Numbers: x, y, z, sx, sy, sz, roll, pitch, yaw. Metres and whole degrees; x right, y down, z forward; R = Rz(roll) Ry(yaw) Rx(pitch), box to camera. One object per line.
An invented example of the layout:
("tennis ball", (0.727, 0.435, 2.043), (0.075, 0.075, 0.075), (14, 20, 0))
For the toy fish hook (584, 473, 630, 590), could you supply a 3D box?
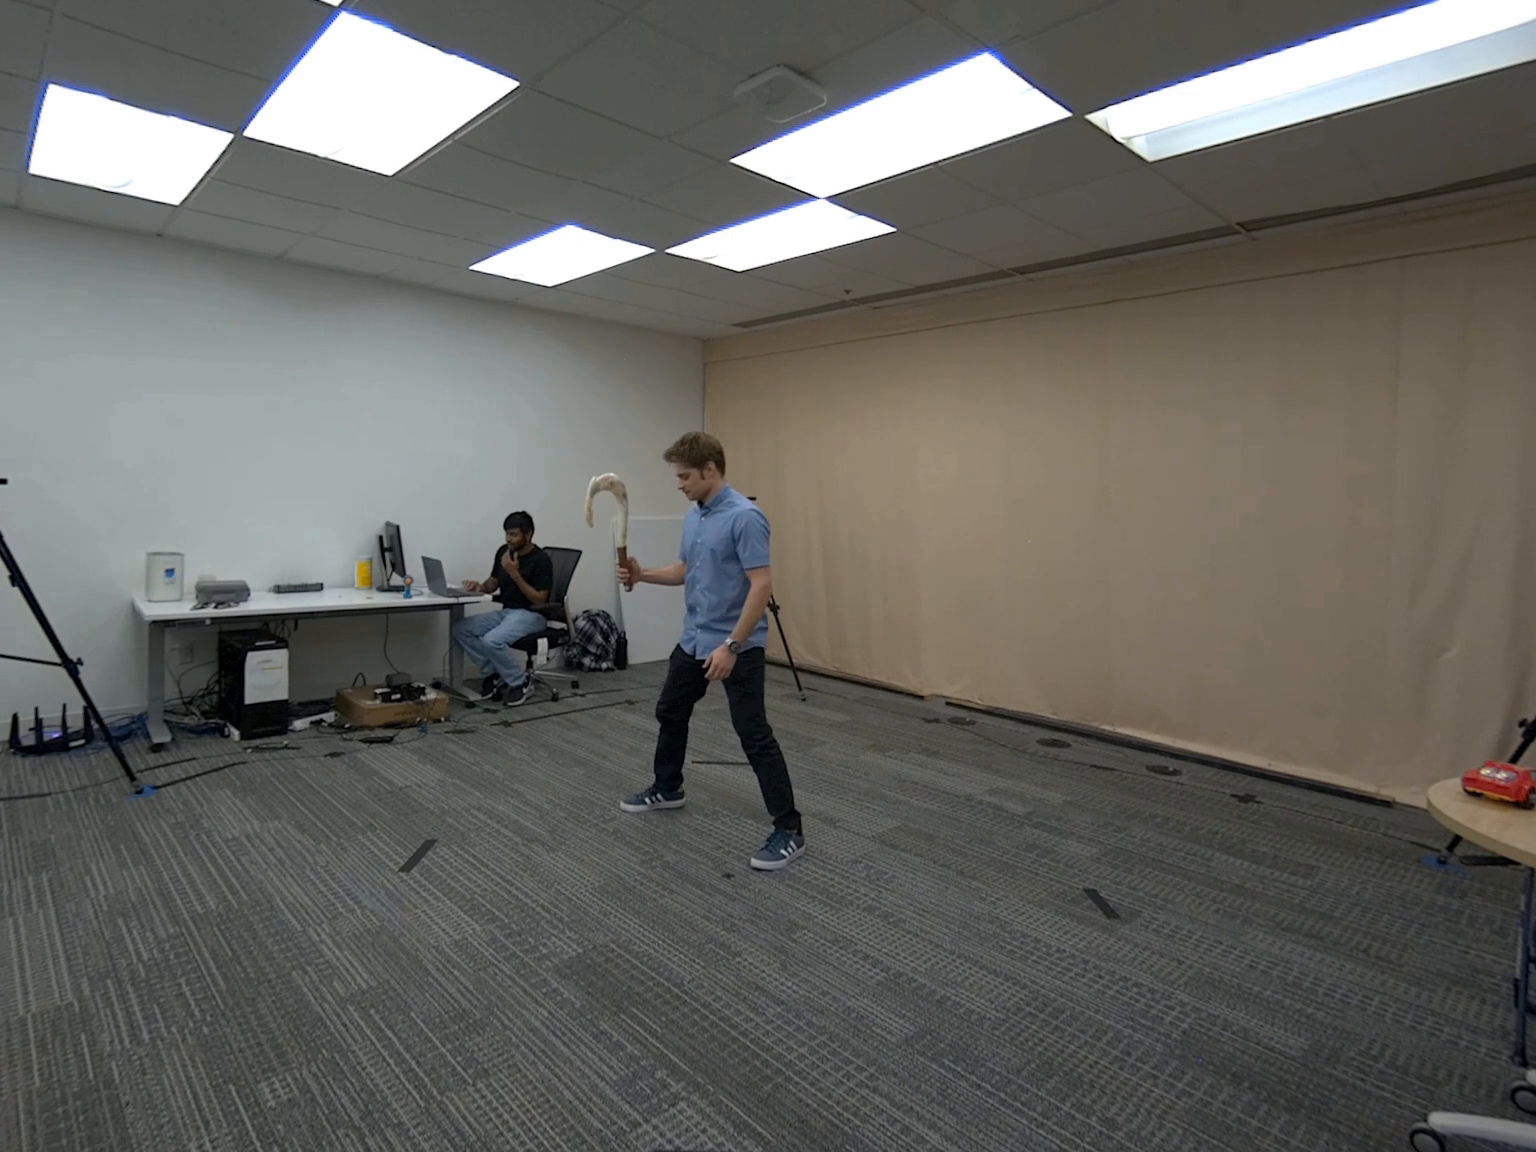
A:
("toy fish hook", (-0.641, -0.143, 3.418), (0.049, 0.500, 0.221), (8, 22, 44))
